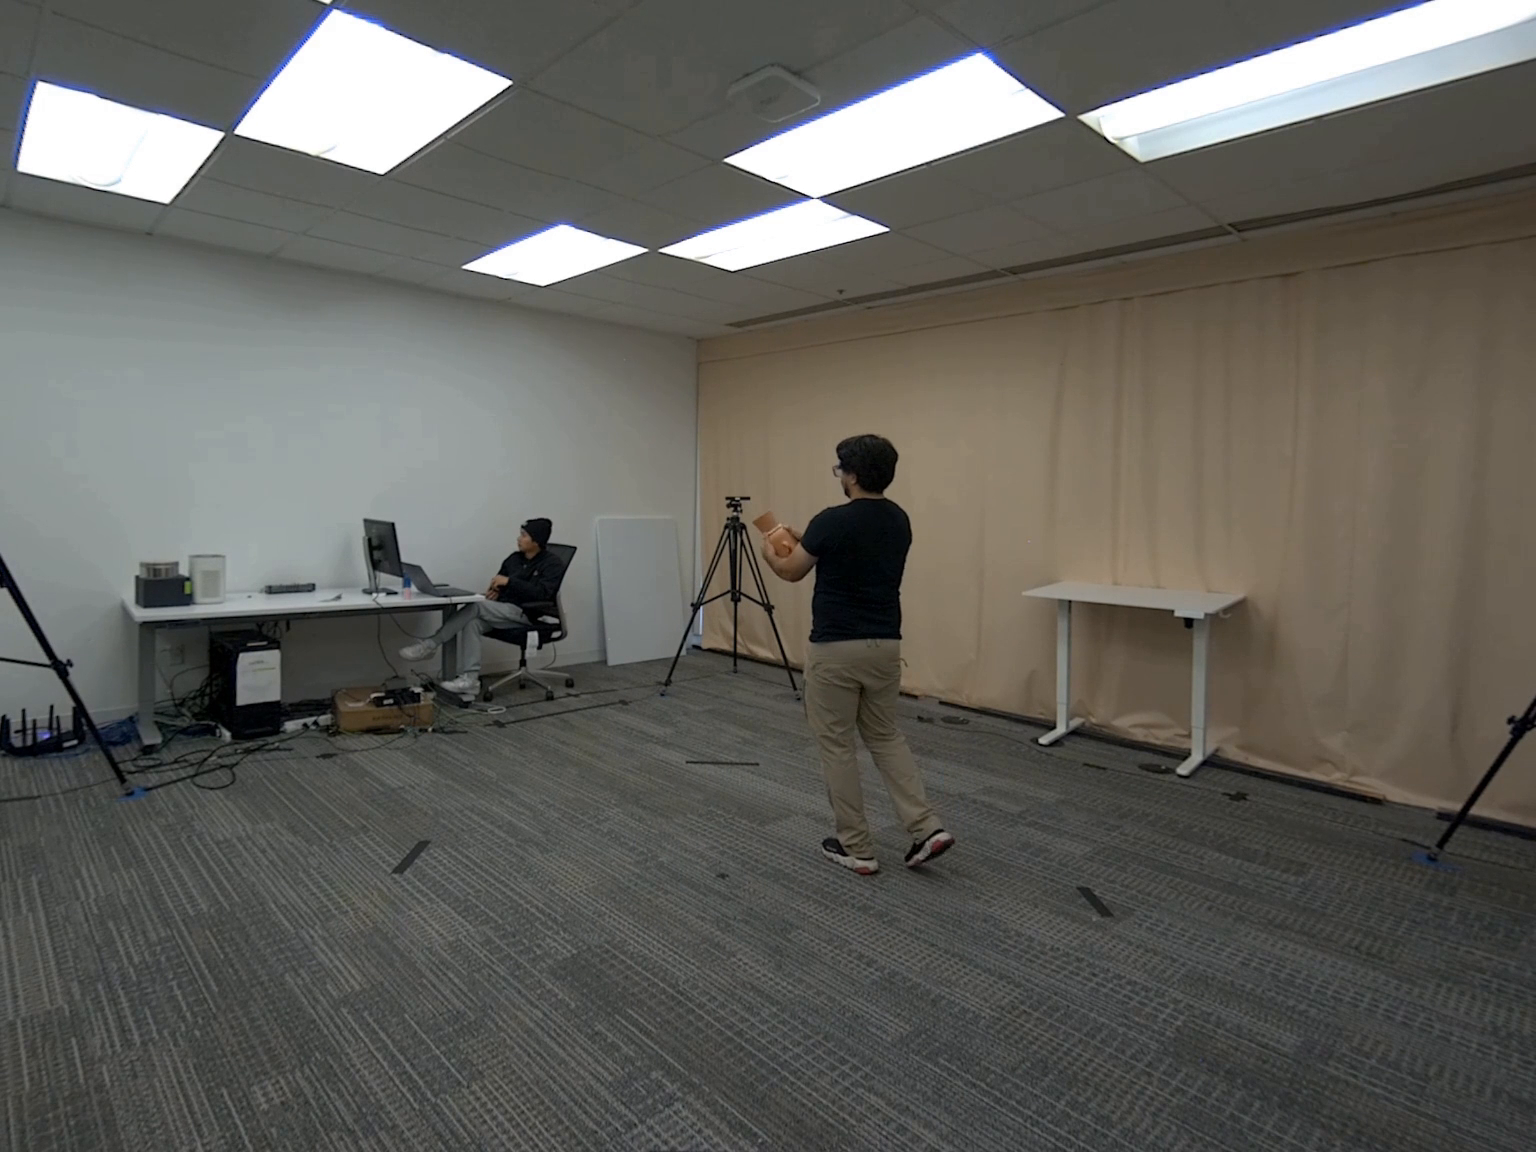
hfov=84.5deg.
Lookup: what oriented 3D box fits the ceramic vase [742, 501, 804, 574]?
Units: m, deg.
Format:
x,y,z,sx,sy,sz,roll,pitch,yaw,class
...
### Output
x,y,z,sx,sy,sz,roll,pitch,yaw,class
0.038,-0.164,3.537,0.160,0.219,0.134,-33,3,41,ceramic vase
